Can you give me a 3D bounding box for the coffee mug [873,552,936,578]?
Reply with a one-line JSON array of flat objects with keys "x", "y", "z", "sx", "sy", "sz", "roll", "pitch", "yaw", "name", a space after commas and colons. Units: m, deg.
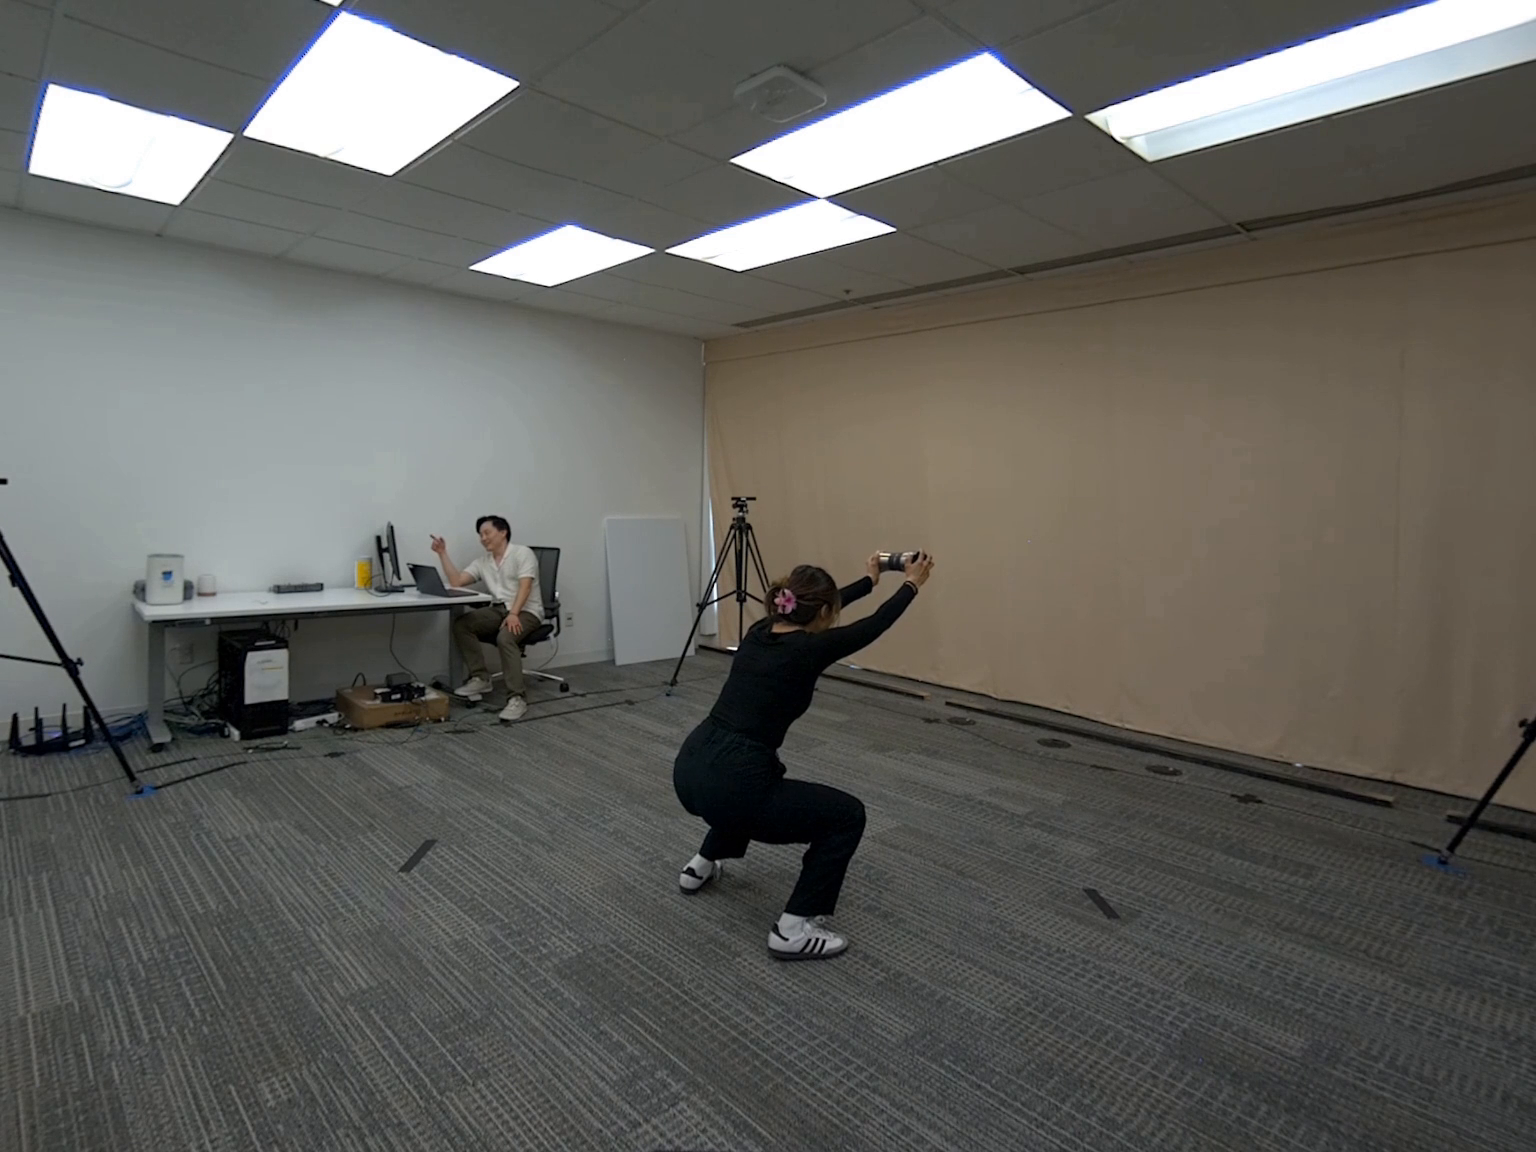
[{"x": 0.514, "y": -0.046, "z": 3.214, "sx": 0.119, "sy": 0.088, "sz": 0.207, "roll": 1, "pitch": 2, "yaw": -35, "name": "coffee mug"}]
